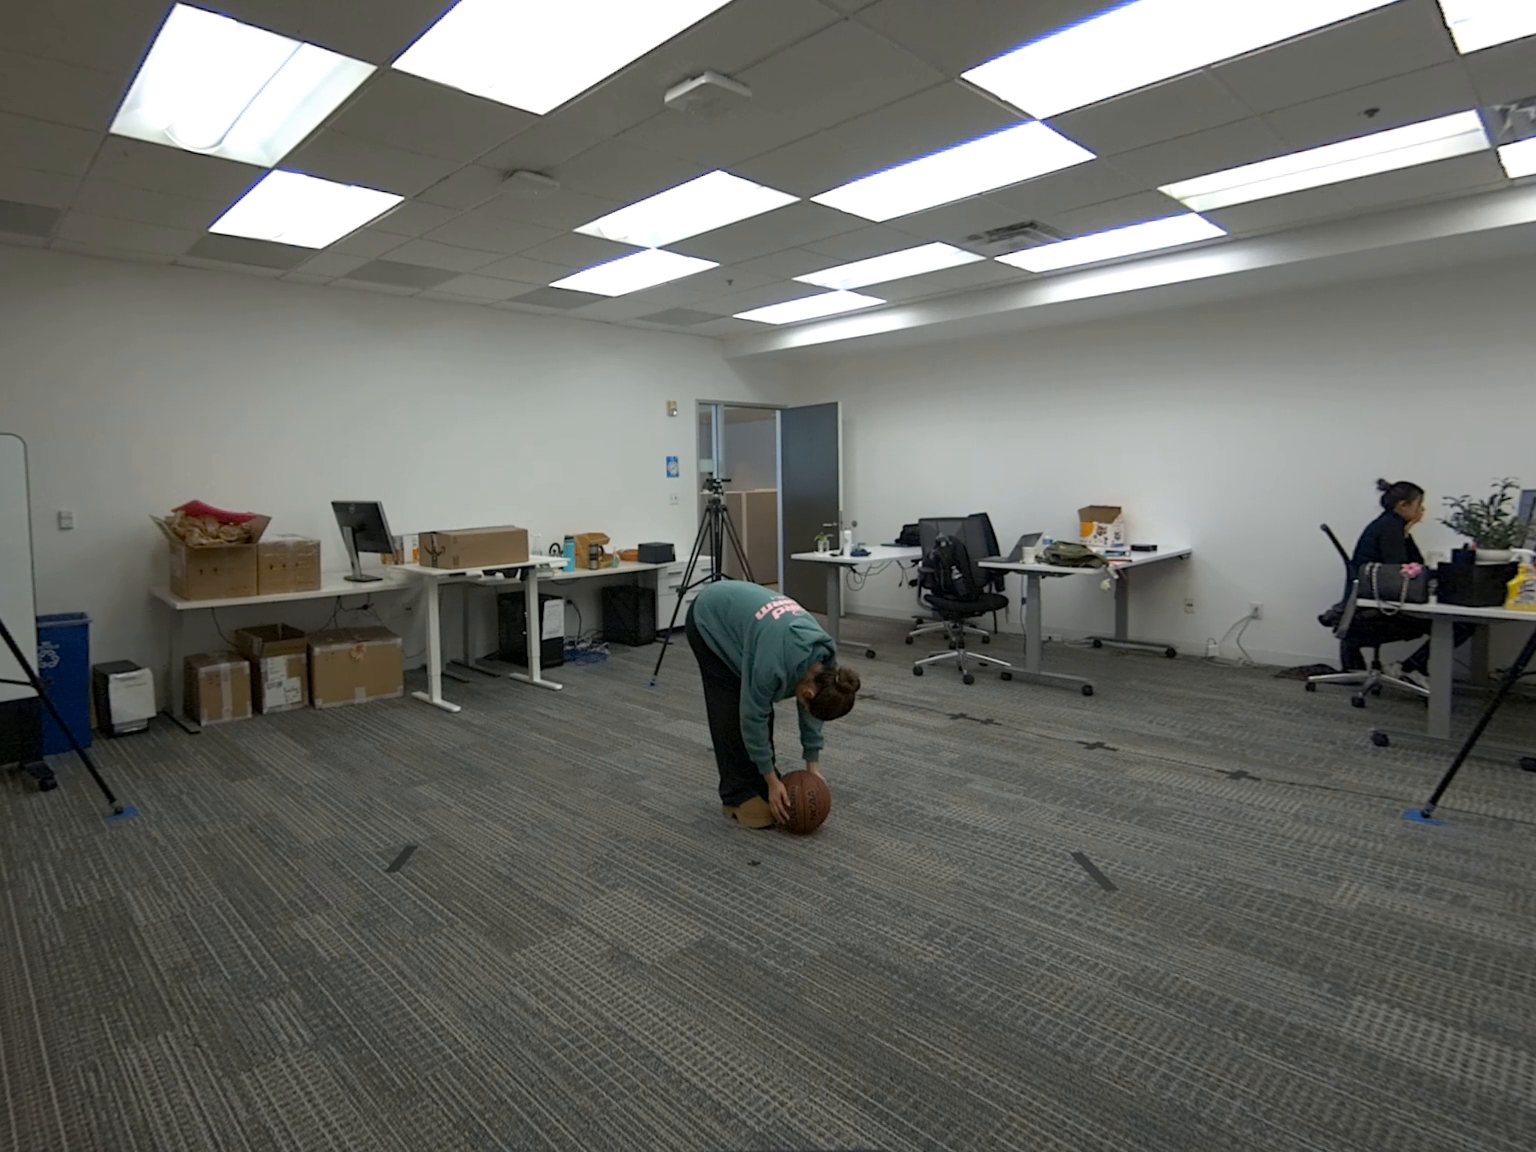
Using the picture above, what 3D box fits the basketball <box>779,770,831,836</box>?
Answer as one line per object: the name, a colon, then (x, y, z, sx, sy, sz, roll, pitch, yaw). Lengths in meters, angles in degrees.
basketball: (0.122, 0.888, 3.386, 0.236, 0.235, 0.237, -1, 5, -2)
